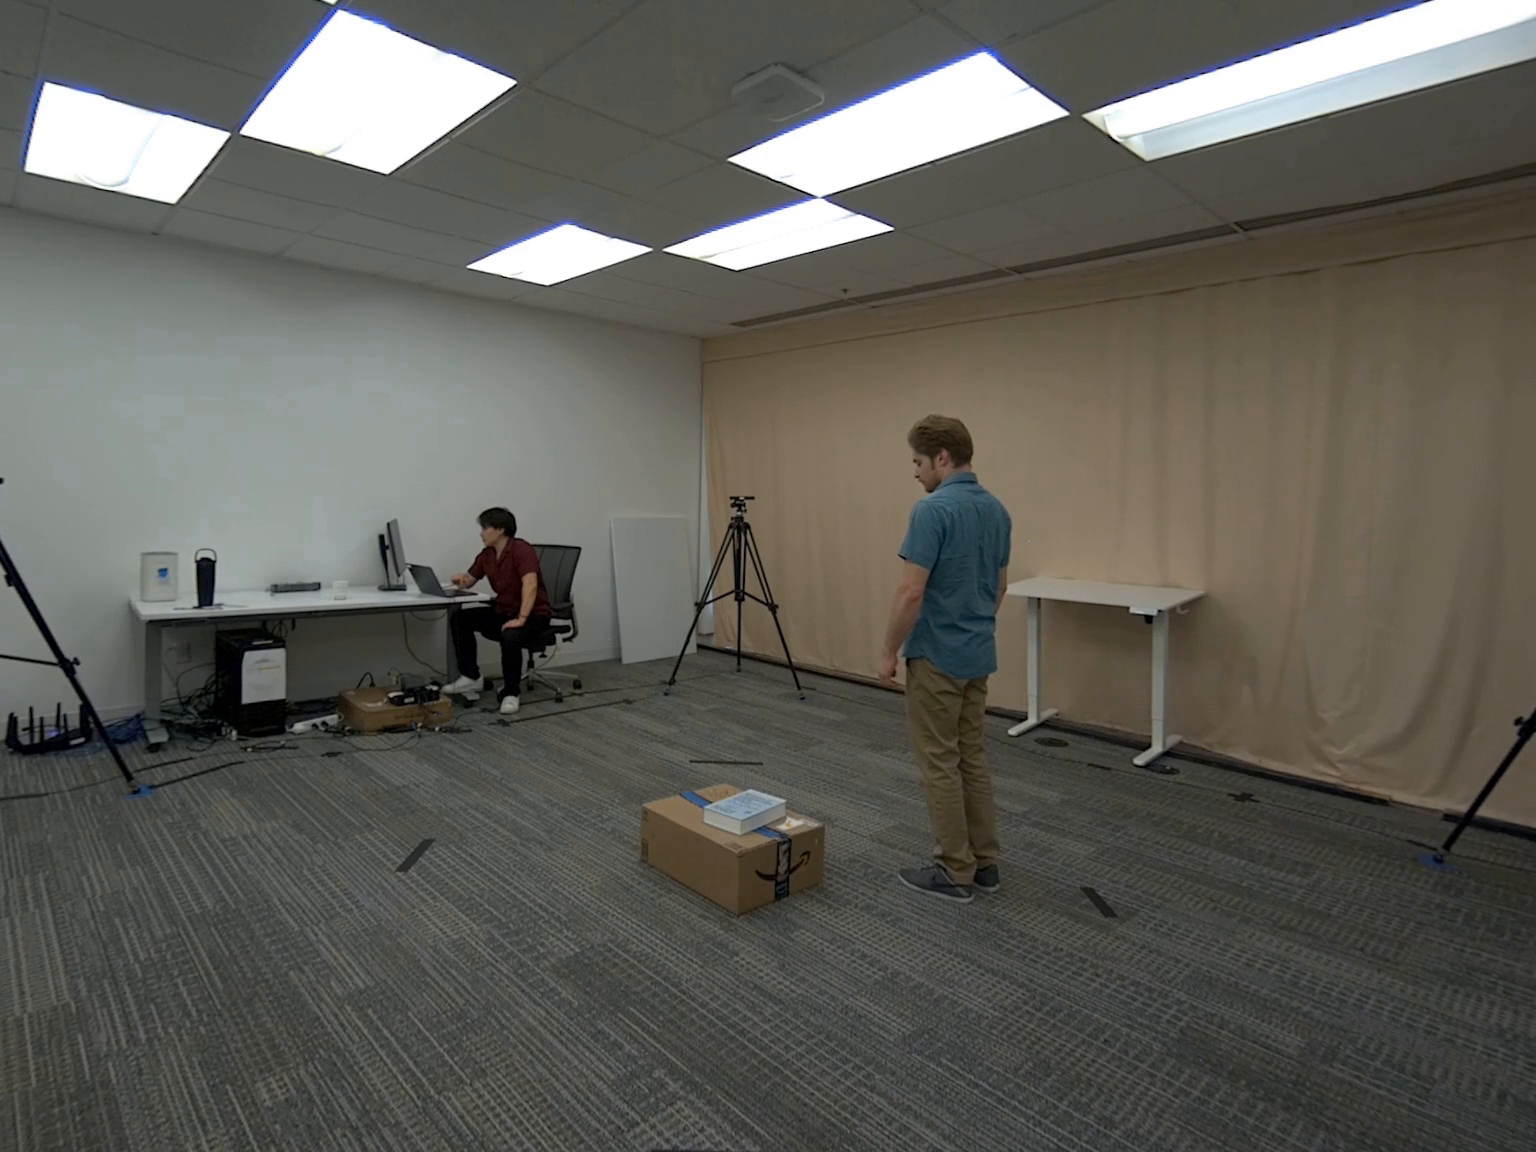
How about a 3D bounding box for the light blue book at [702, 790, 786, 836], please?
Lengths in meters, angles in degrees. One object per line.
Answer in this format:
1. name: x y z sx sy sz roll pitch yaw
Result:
1. light blue book: -0.090 0.856 3.102 0.196 0.059 0.255 5 7 40
